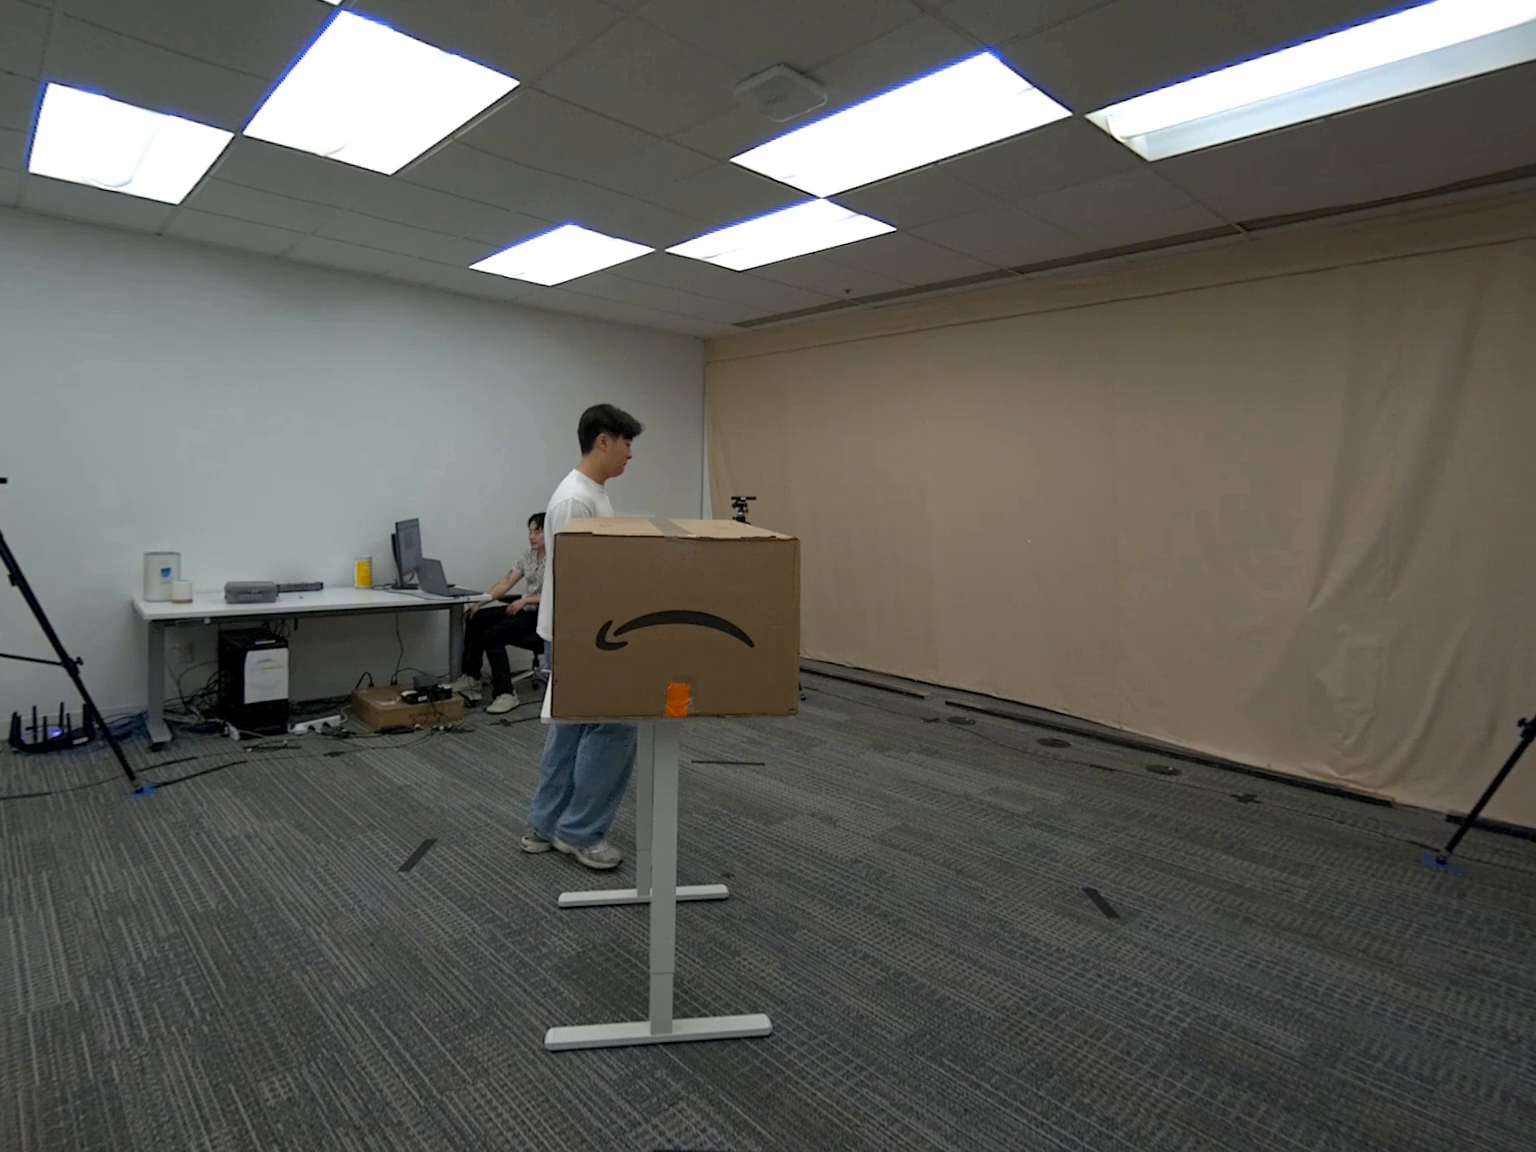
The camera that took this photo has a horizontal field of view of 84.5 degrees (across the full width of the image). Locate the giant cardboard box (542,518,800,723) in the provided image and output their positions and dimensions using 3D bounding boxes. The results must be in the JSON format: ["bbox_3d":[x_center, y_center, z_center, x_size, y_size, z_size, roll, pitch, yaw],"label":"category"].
[{"bbox_3d":[-0.298,0.069,2.444,0.573,0.425,1.037,2,6,-10],"label":"giant cardboard box"}]
